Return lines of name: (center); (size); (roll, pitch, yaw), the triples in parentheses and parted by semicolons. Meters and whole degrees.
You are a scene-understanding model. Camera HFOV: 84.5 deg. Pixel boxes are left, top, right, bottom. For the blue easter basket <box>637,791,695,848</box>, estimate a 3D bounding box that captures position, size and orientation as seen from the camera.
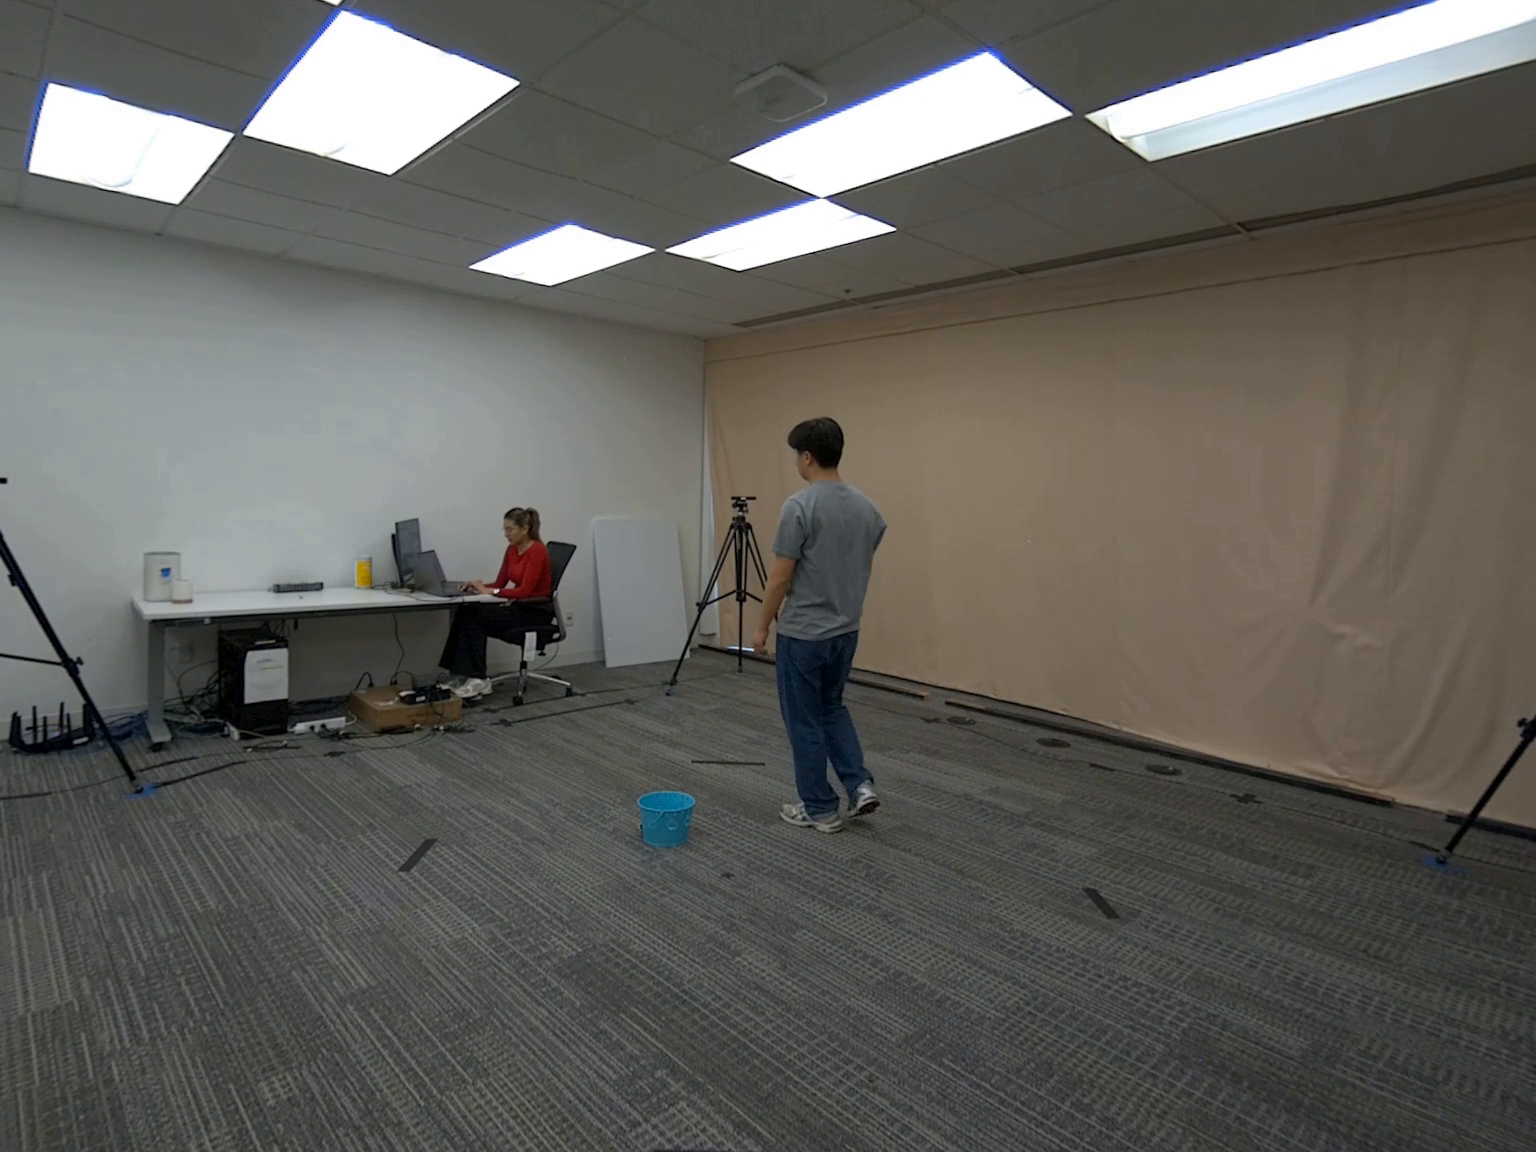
blue easter basket: (-0.427, 0.991, 3.437); (0.243, 0.155, 0.244); (2, 5, -2)
